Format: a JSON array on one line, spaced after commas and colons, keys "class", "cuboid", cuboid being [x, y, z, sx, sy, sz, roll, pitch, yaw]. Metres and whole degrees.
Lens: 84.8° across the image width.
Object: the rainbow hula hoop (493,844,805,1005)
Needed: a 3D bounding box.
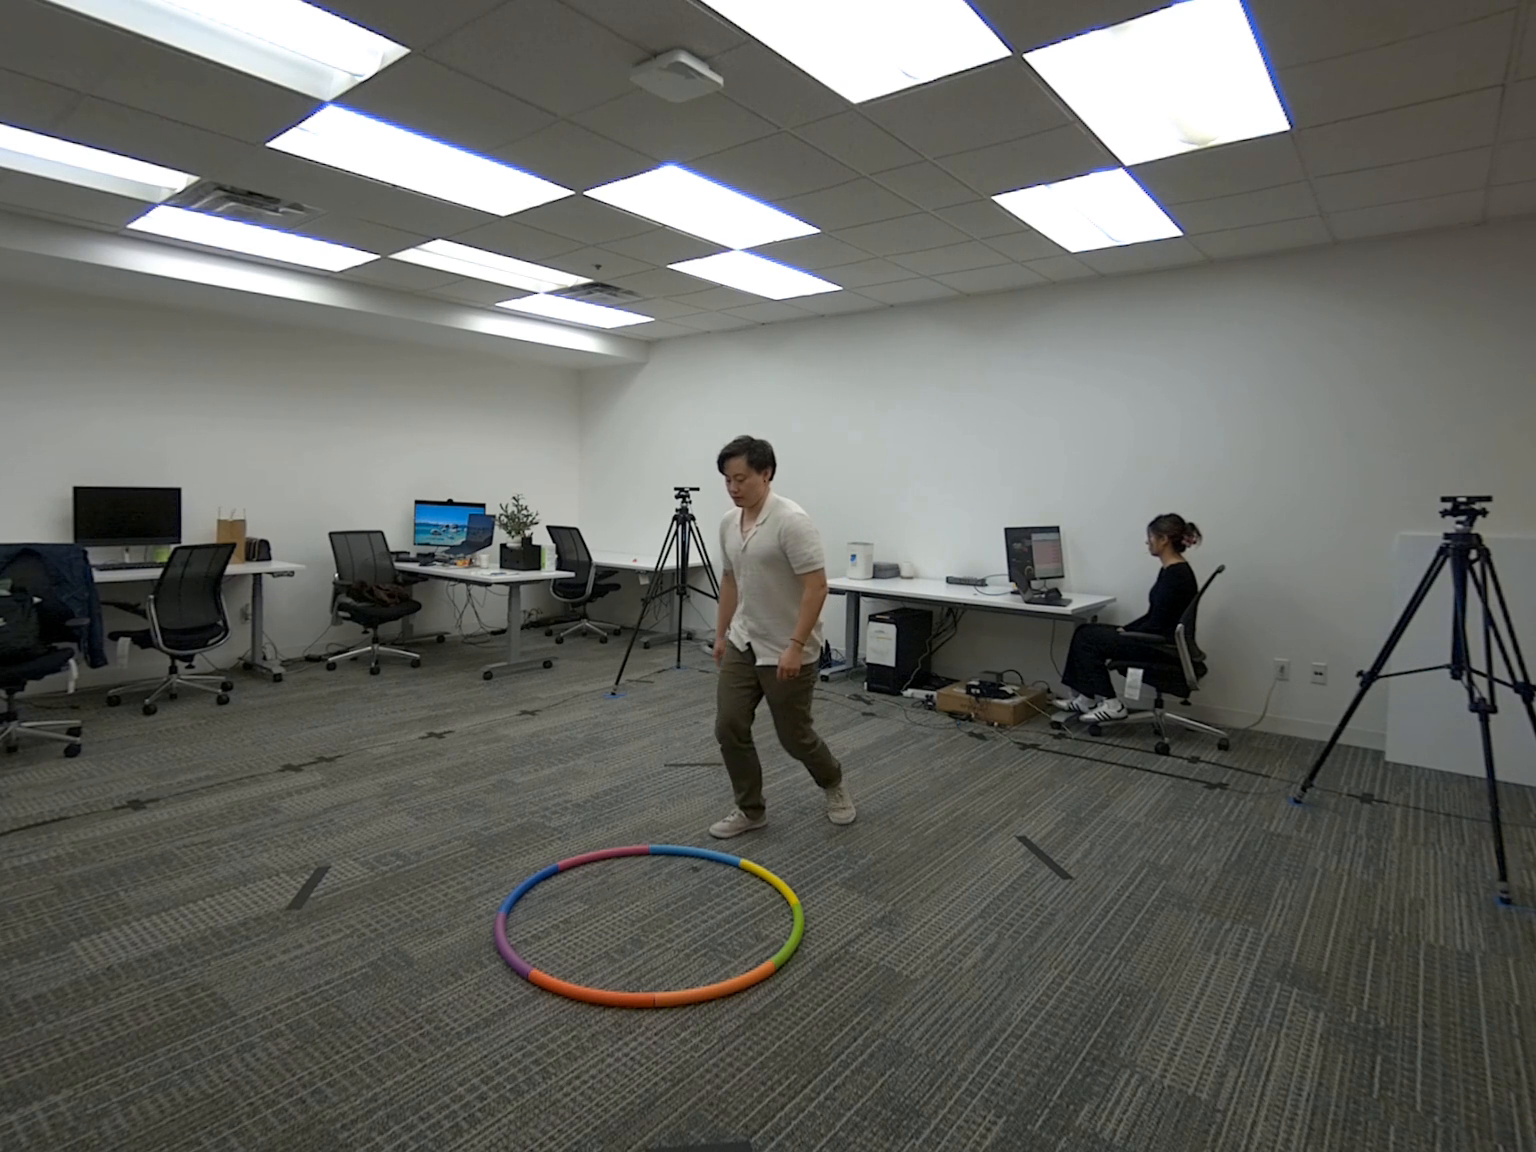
[{"class": "rainbow hula hoop", "cuboid": [-0.383, 1.067, 2.753, 0.978, 0.035, 0.983, 0, 5, -2]}]
